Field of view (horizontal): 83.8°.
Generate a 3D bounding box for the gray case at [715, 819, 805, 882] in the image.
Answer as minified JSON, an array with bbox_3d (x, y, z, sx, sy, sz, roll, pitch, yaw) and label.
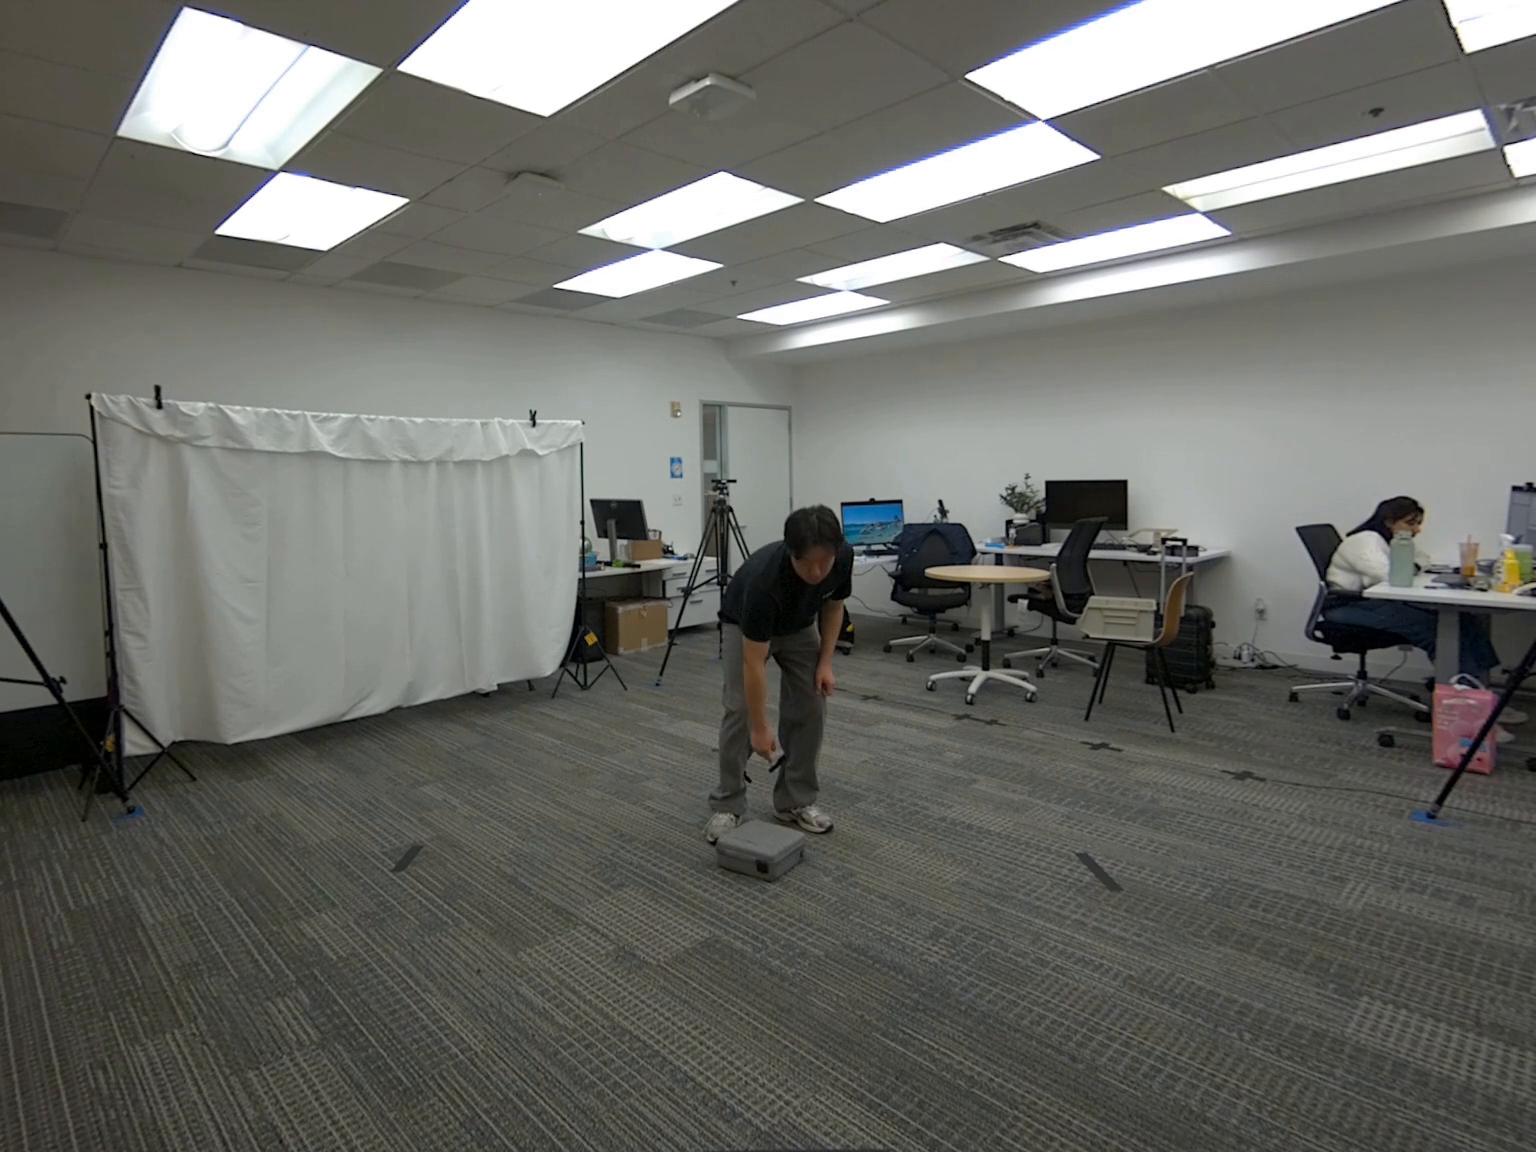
[{"bbox_3d":[-0.018,0.995,3.116,0.271,0.102,0.280,3,6,35],"label":"gray case"}]
